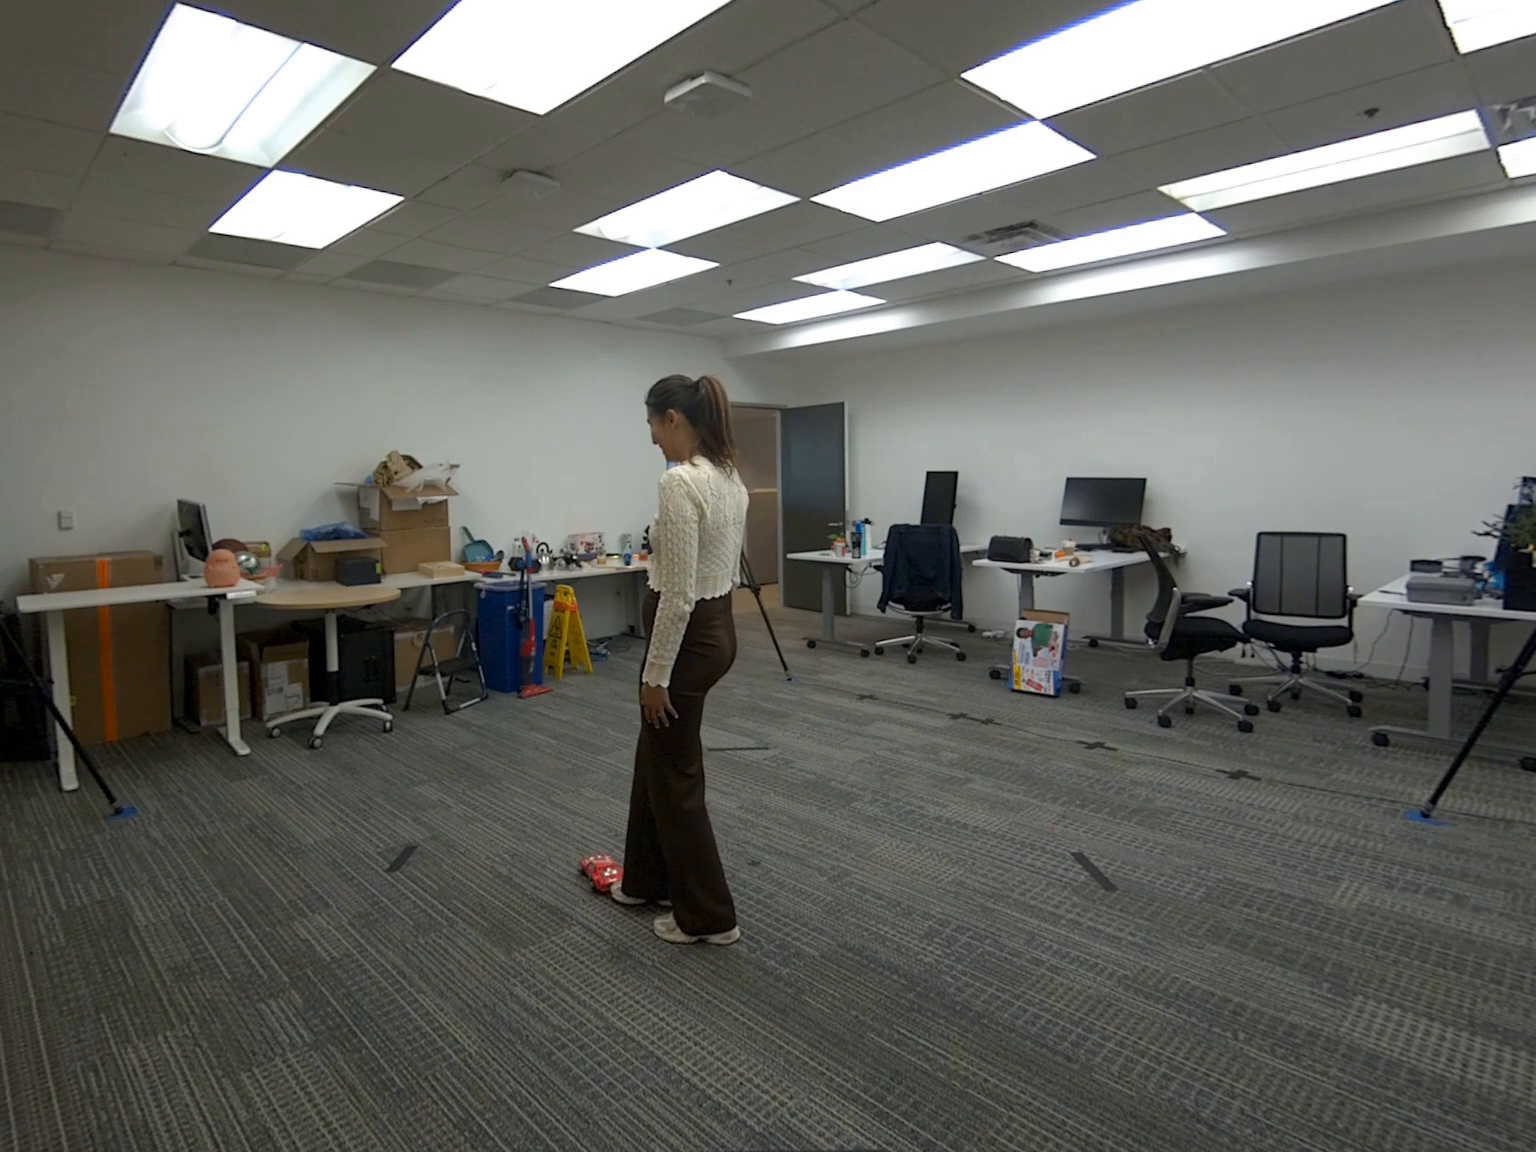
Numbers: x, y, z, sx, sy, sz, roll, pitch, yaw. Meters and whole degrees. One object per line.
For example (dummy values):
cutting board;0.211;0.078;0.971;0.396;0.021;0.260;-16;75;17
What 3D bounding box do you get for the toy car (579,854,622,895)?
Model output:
toy car;-0.568;1.035;2.975;0.127;0.083;0.259;-5;-3;-27
